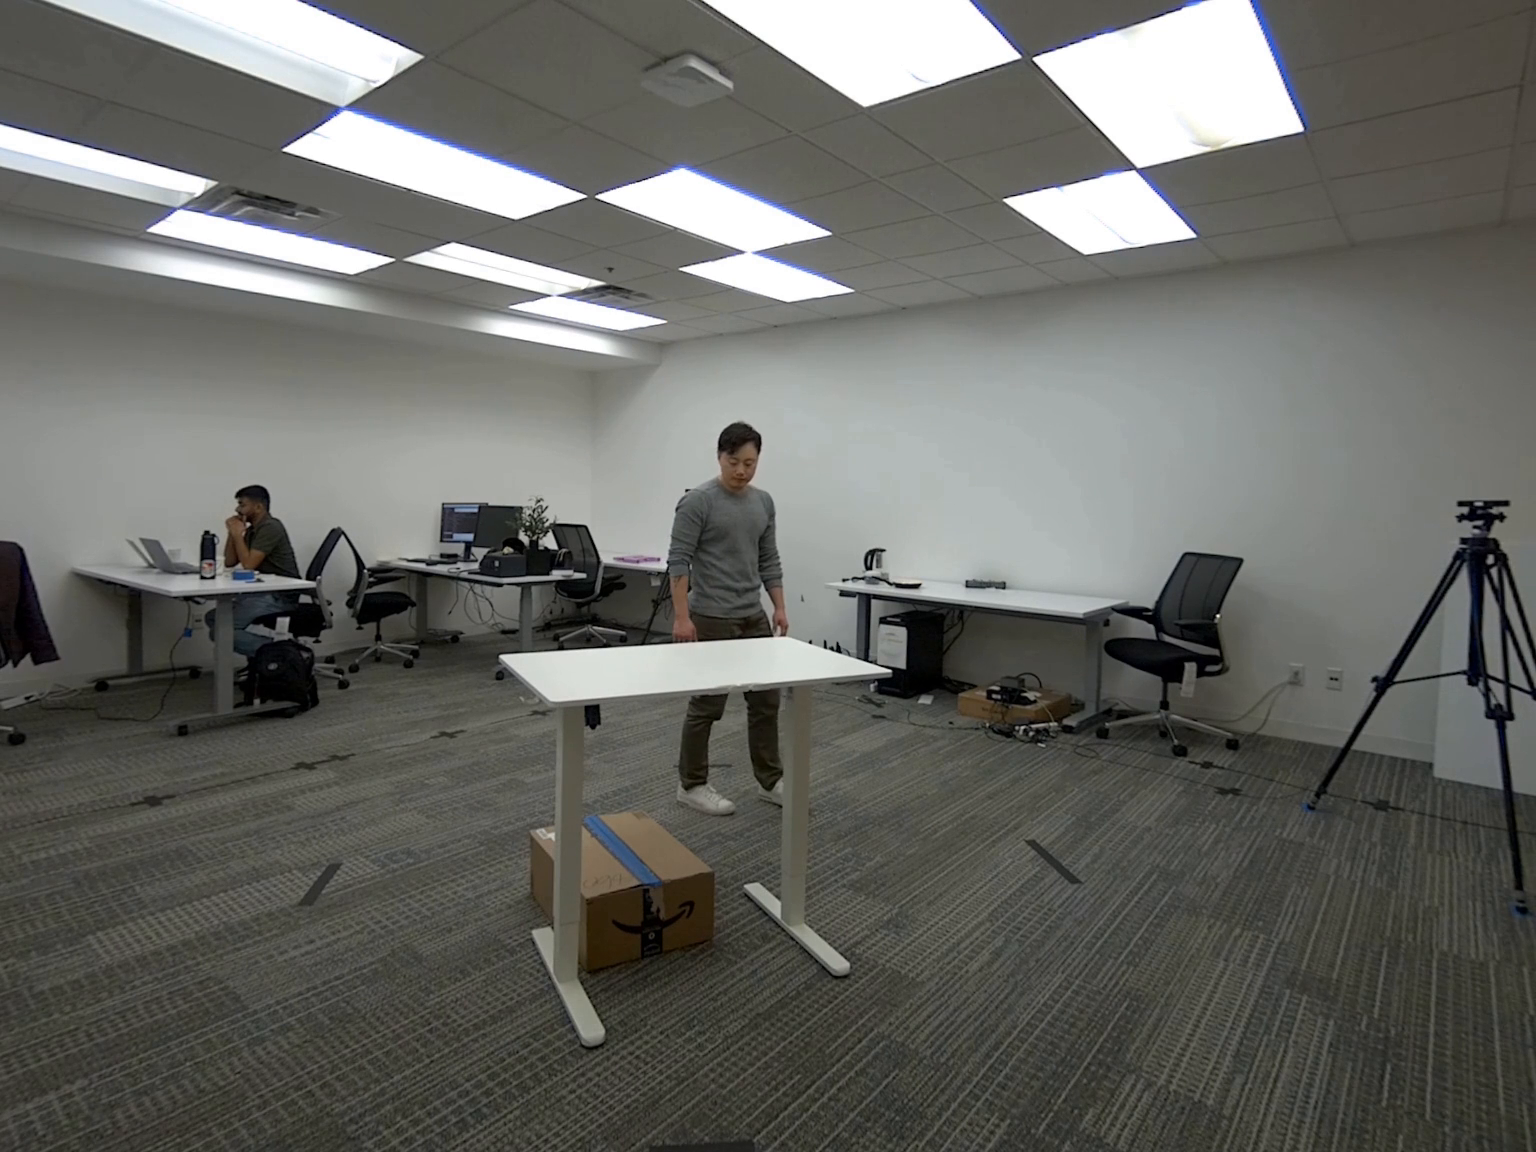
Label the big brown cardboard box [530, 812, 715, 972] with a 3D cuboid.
[{"bbox_3d":[-0.502,0.988,2.765,0.406,0.232,0.608,-2,6,-31],"label":"big brown cardboard box"}]
